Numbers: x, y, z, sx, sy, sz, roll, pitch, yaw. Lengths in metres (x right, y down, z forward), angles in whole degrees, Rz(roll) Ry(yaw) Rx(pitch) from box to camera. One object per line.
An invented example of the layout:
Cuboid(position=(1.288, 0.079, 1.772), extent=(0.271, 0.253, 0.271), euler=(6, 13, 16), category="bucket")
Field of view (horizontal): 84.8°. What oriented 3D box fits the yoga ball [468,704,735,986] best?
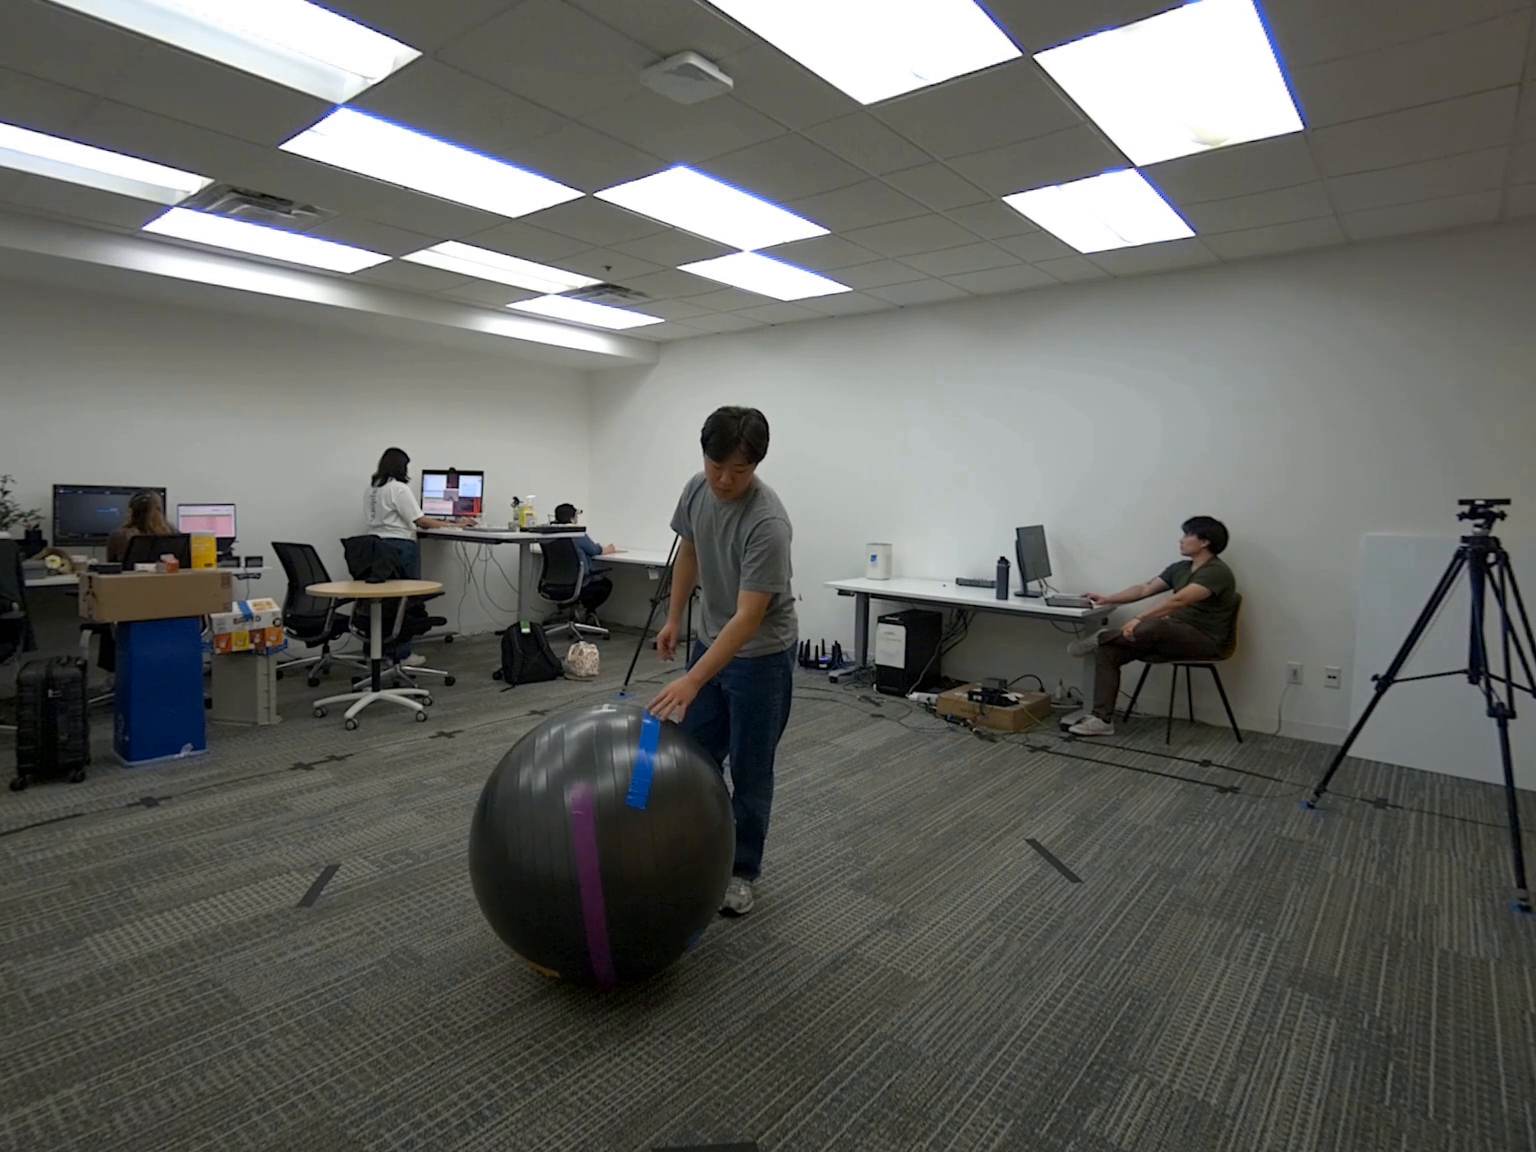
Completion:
Cuboid(position=(-0.486, 0.759, 2.454), extent=(0.757, 0.755, 0.762), euler=(1, 4, -2), category="yoga ball")
